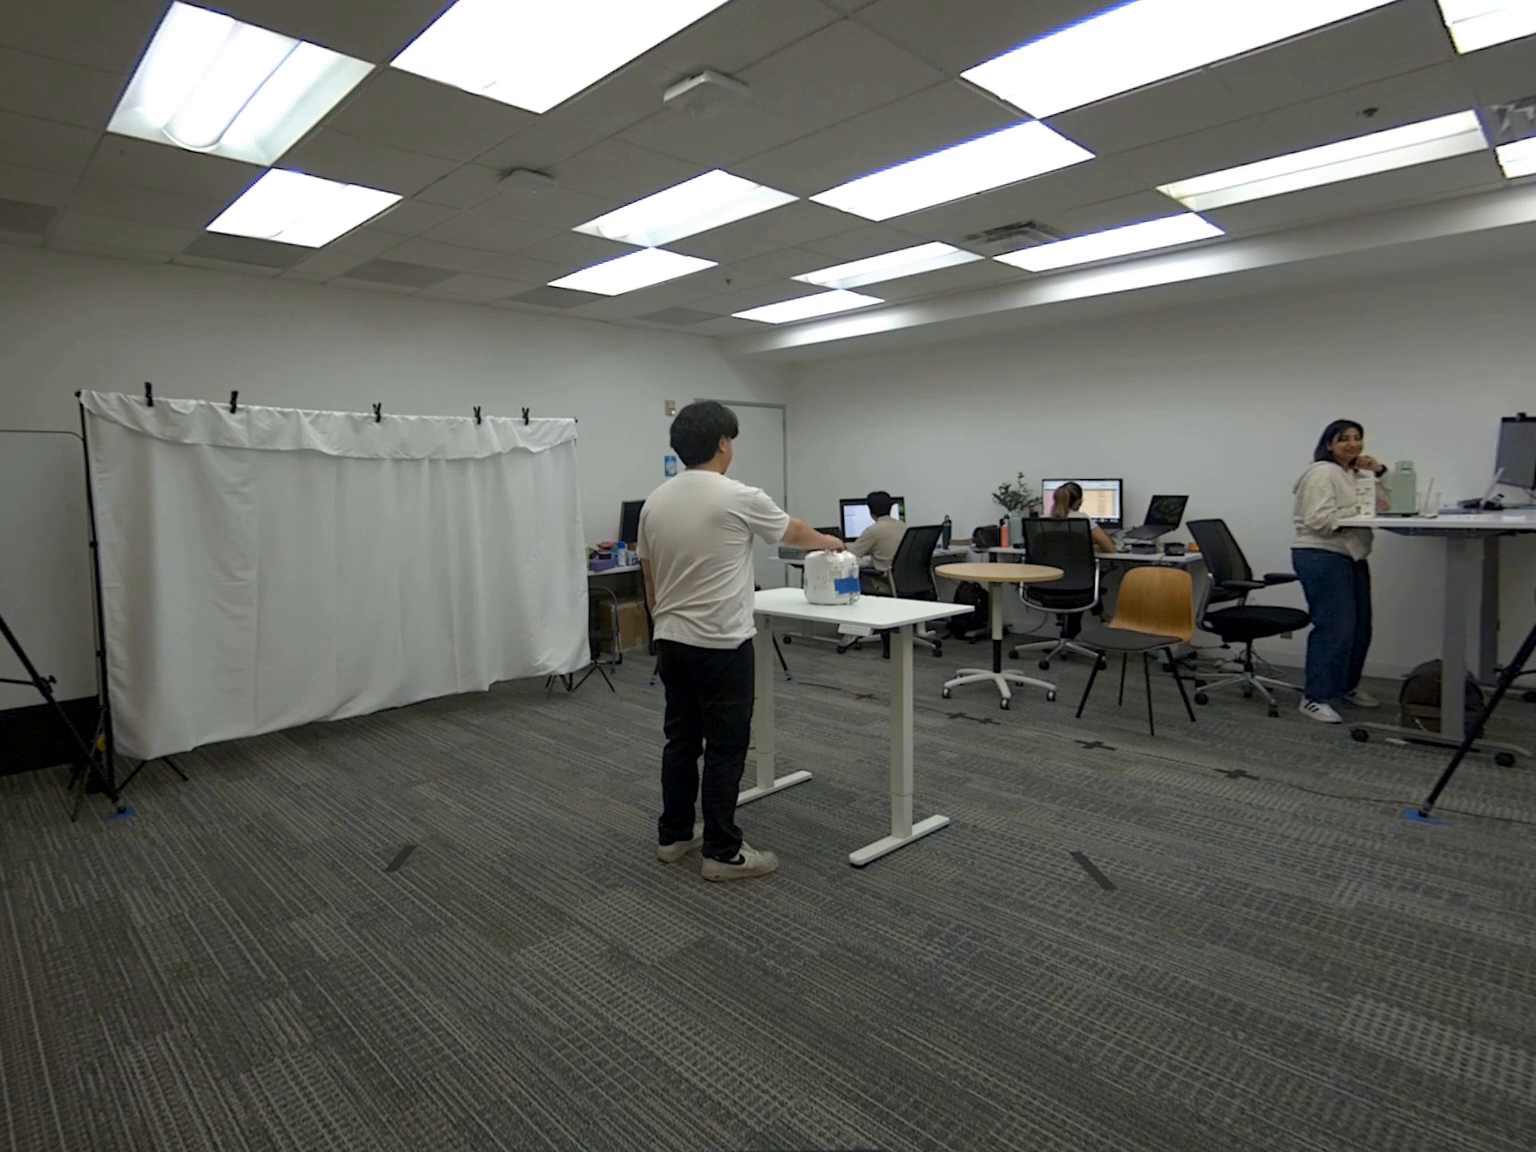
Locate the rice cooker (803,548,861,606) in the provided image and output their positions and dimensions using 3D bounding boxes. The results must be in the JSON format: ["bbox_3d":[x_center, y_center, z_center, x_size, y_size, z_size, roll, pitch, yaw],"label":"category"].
[{"bbox_3d":[0.261,-0.005,3.490,0.217,0.232,0.222,-1,3,-4],"label":"rice cooker"}]
